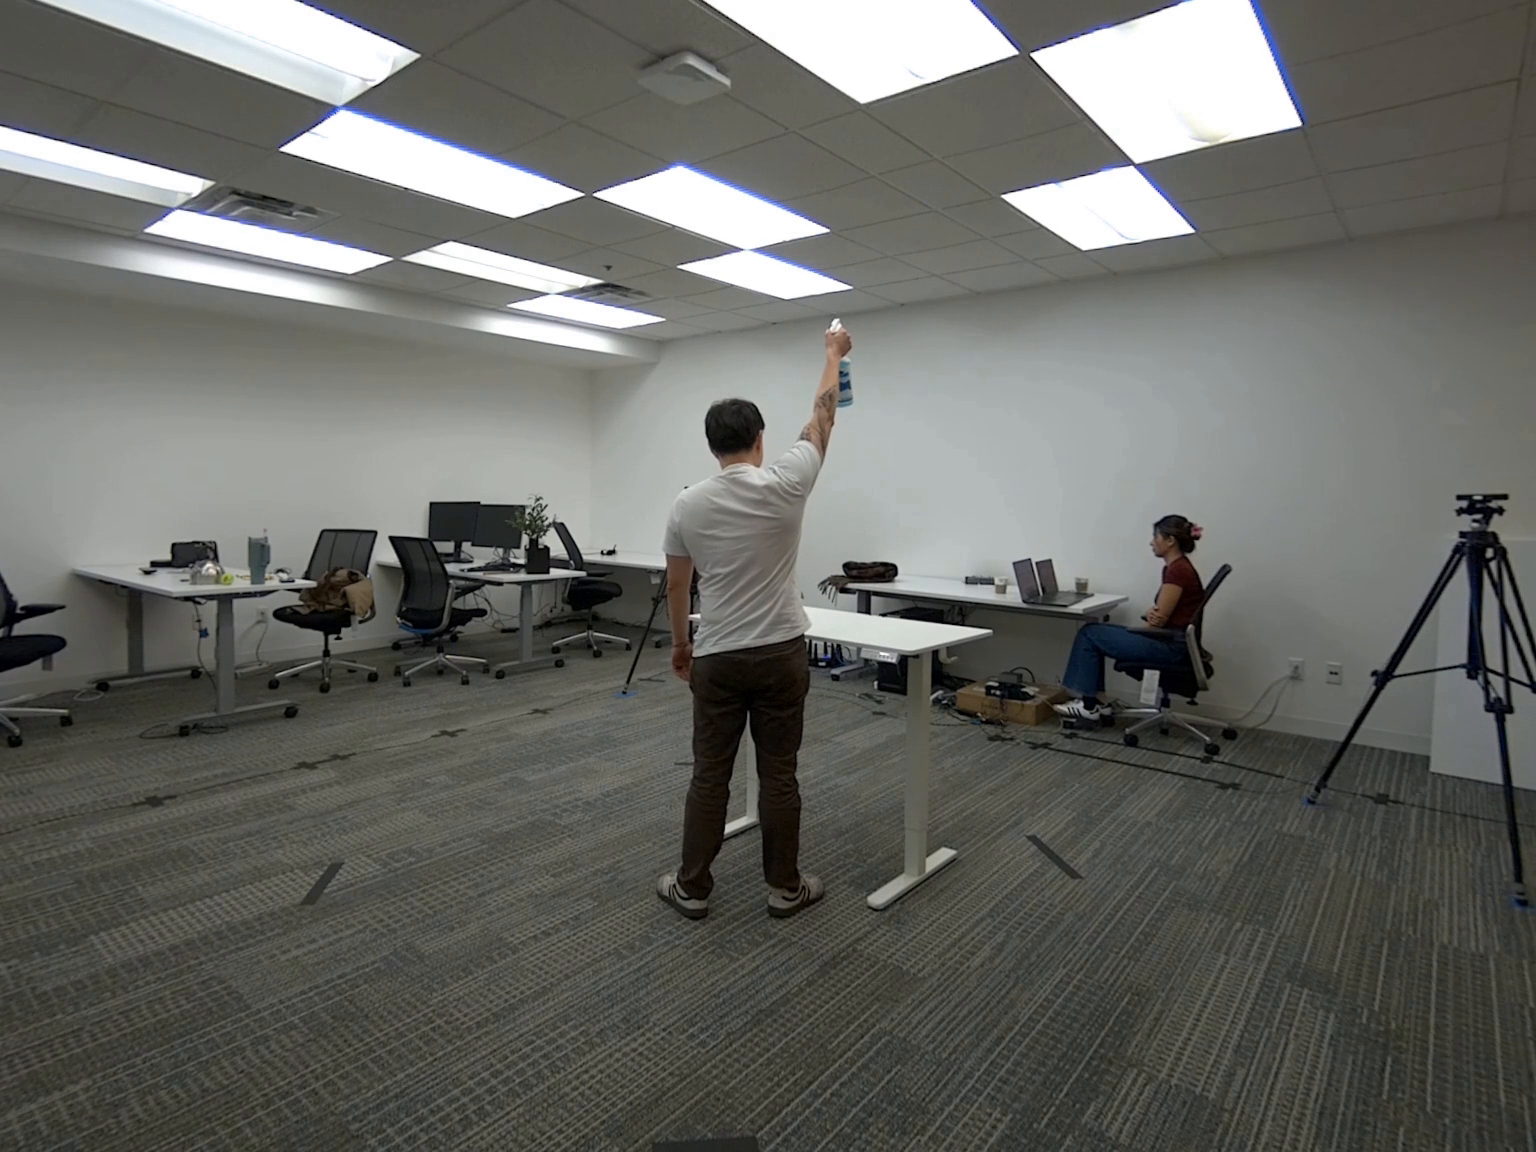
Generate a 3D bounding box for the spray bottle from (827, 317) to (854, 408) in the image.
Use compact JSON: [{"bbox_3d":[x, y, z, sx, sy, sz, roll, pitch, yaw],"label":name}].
[{"bbox_3d":[0.234,-0.749,2.991,0.090,0.291,0.089,13,29,40],"label":"spray bottle"}]
